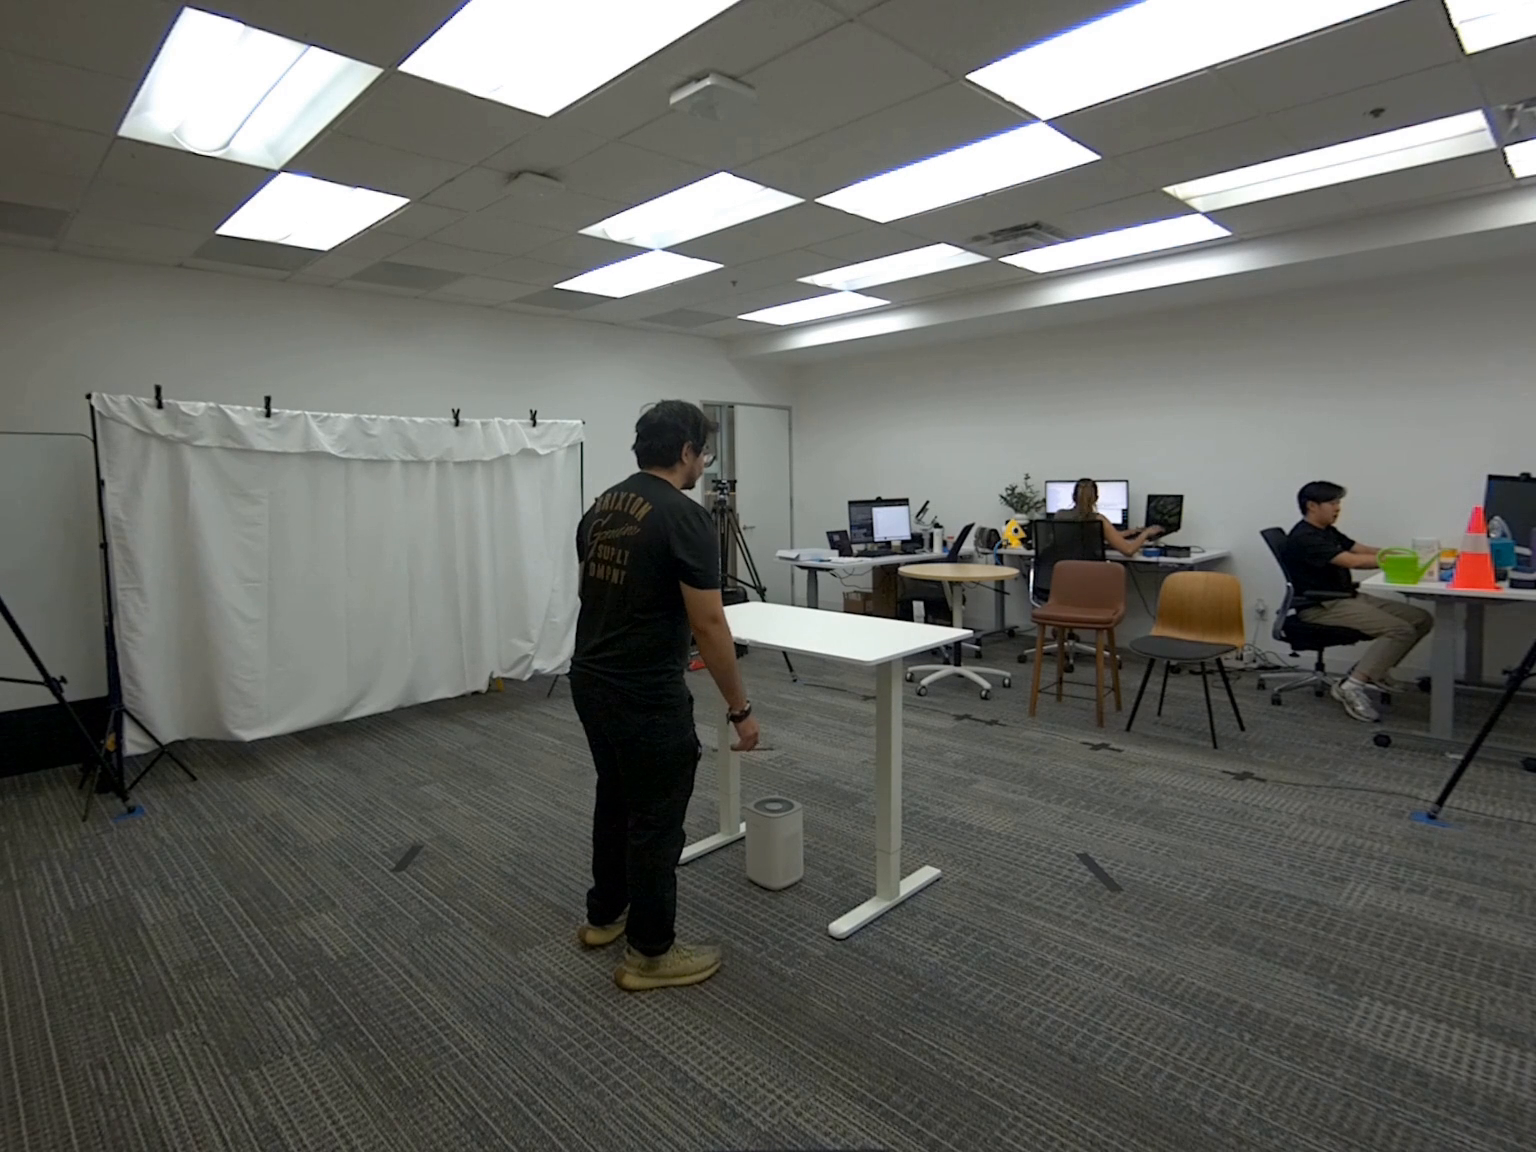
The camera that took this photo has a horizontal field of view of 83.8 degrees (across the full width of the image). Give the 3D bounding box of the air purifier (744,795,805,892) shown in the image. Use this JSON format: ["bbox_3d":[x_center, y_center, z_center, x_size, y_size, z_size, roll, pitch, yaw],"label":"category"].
[{"bbox_3d":[0.024,0.924,2.975,0.176,0.264,0.167,4,6,44],"label":"air purifier"}]
